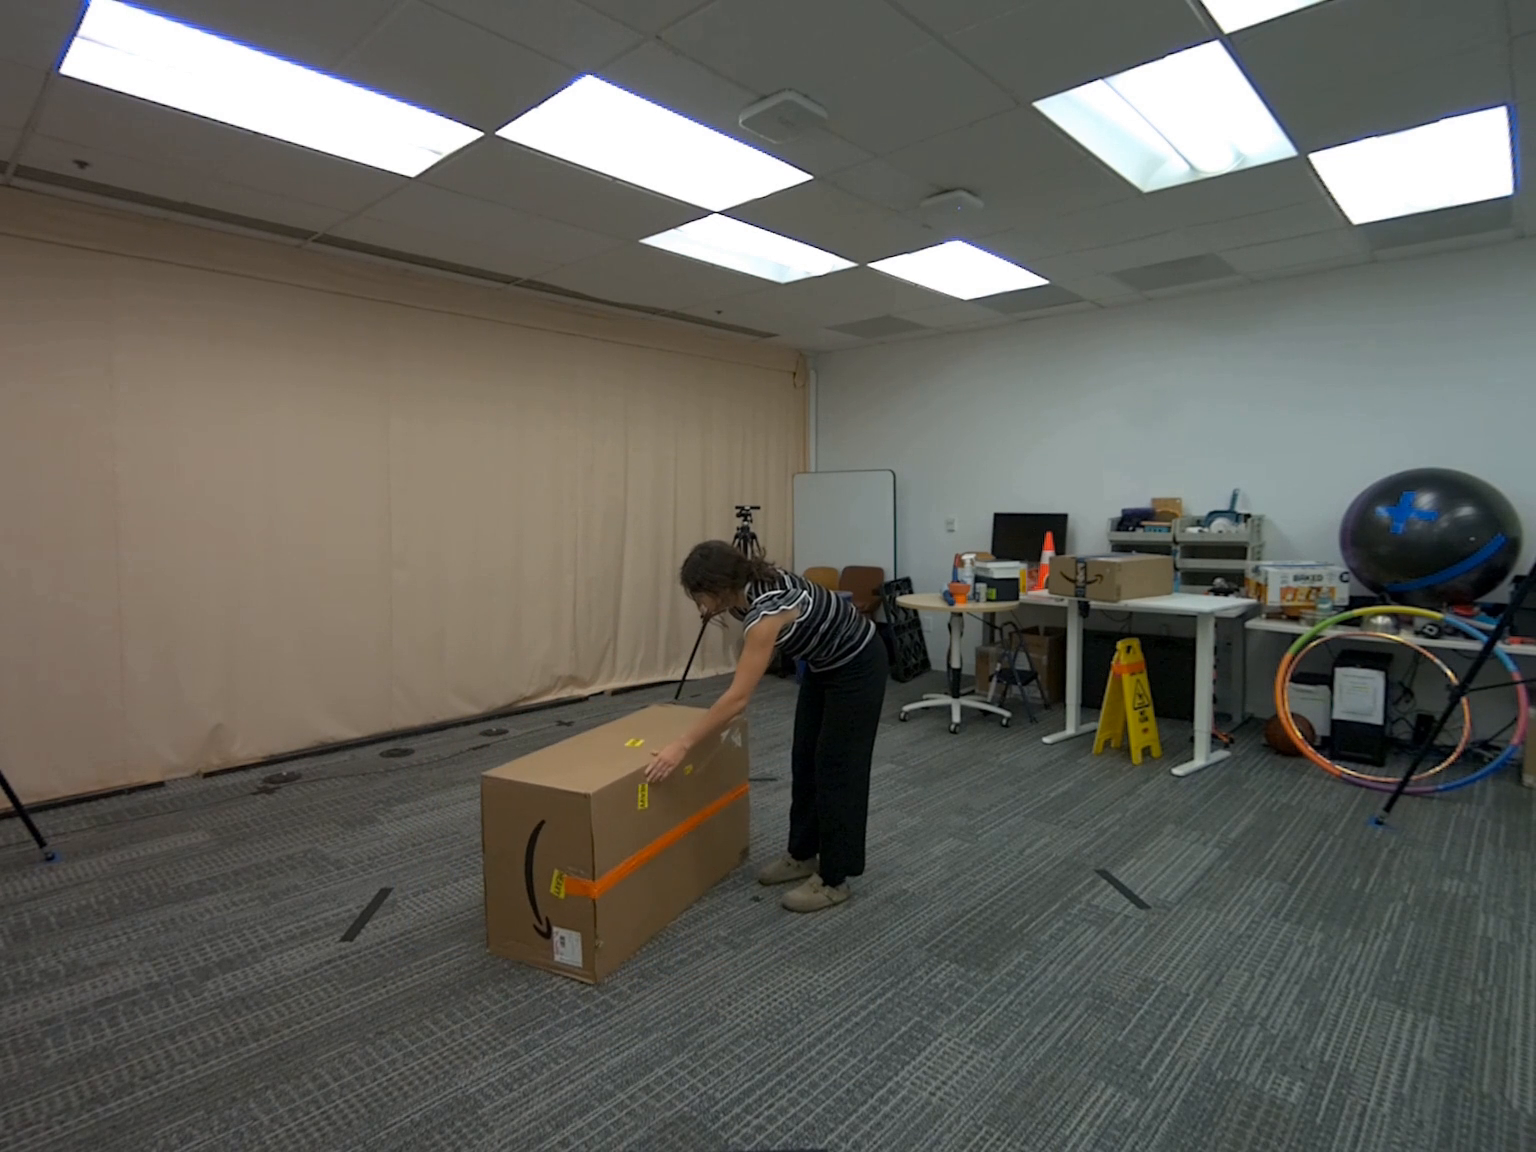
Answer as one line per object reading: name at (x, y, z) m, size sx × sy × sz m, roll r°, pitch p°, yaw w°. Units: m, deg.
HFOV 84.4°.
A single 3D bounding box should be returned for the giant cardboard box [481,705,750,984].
giant cardboard box at (-0.483, 0.858, 2.969) m, size 0.437 × 0.576 × 1.001 m, roll 2°, pitch 5°, yaw 26°
